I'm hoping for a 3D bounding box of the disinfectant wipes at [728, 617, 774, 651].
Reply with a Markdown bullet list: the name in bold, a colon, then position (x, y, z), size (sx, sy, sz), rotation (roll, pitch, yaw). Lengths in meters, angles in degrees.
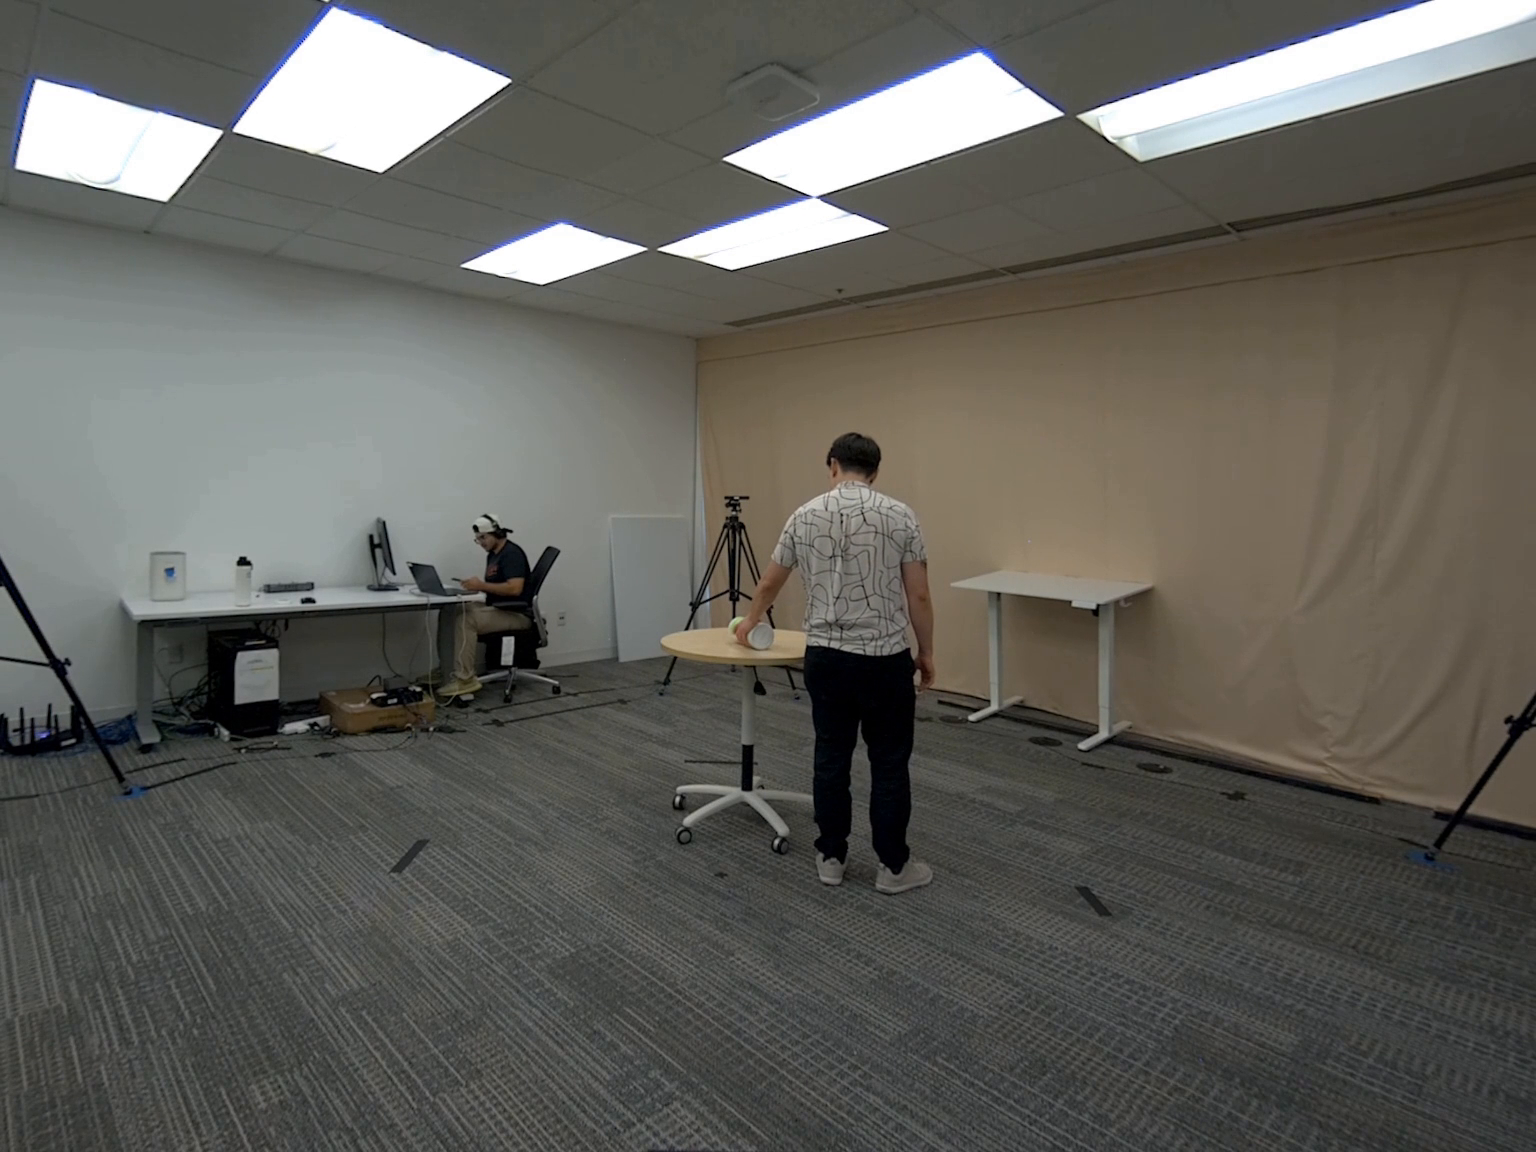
- **disinfectant wipes**: position (-0.077, 0.234, 3.473), size (0.115, 0.117, 0.222), rotation (-1, 6, -28)
